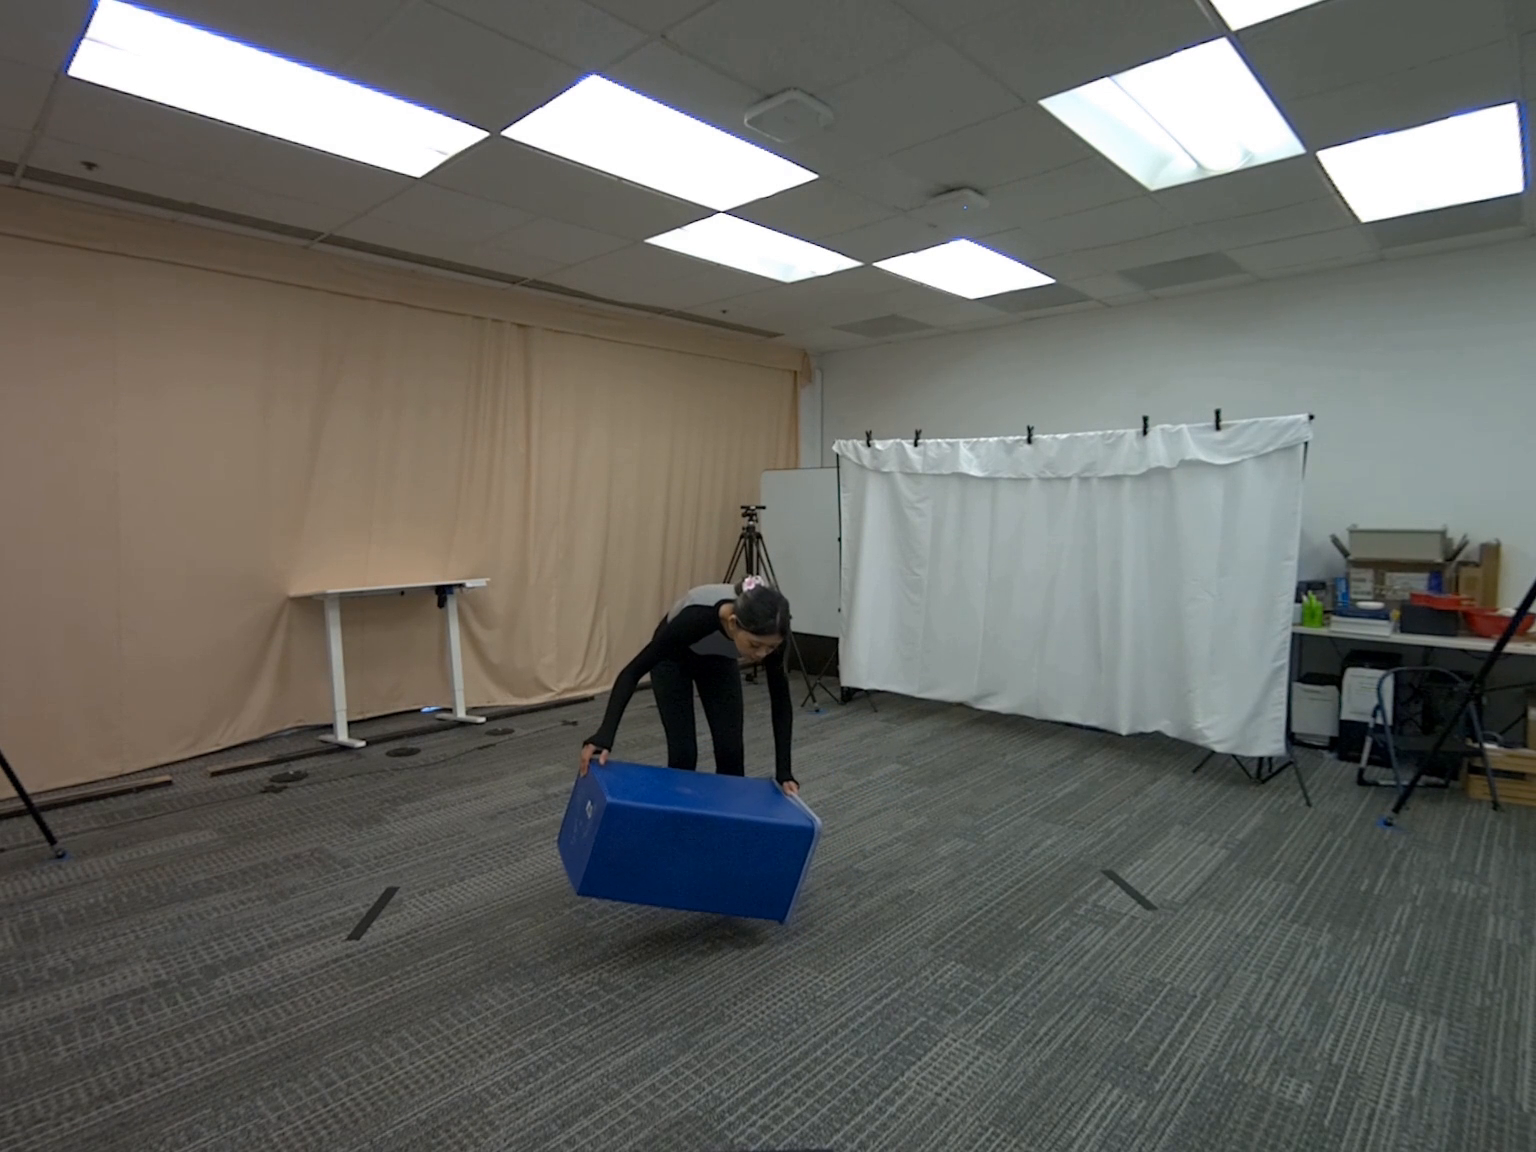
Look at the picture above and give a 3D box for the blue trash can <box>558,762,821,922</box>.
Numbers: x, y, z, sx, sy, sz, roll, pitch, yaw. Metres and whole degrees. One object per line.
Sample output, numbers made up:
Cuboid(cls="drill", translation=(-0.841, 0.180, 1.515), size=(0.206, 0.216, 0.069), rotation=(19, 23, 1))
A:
Cuboid(cls="blue trash can", translation=(-0.251, 0.818, 2.650), size=(0.694, 0.373, 0.389), rotation=(16, 5, -26))
